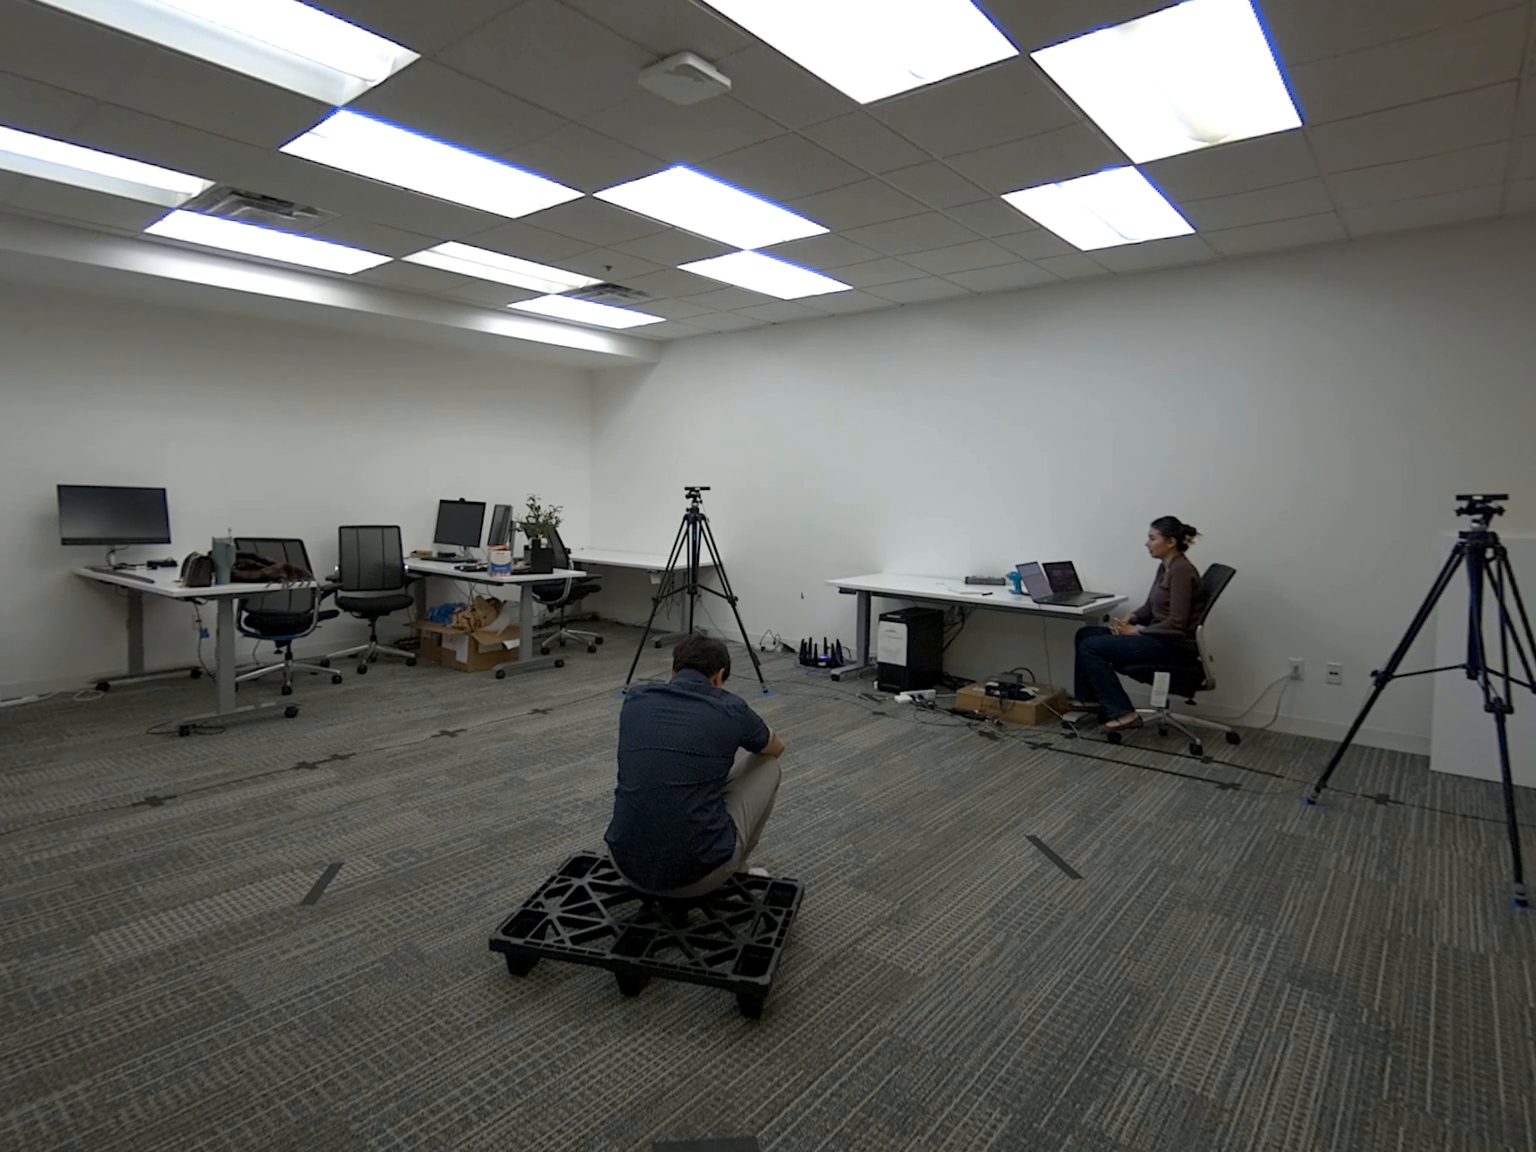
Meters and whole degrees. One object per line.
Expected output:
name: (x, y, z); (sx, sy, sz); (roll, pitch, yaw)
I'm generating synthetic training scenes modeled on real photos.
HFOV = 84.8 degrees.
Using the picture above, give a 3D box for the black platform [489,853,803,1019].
black platform: (-0.345, 1.053, 2.548); (0.818, 0.143, 0.598); (2, 5, 13)
